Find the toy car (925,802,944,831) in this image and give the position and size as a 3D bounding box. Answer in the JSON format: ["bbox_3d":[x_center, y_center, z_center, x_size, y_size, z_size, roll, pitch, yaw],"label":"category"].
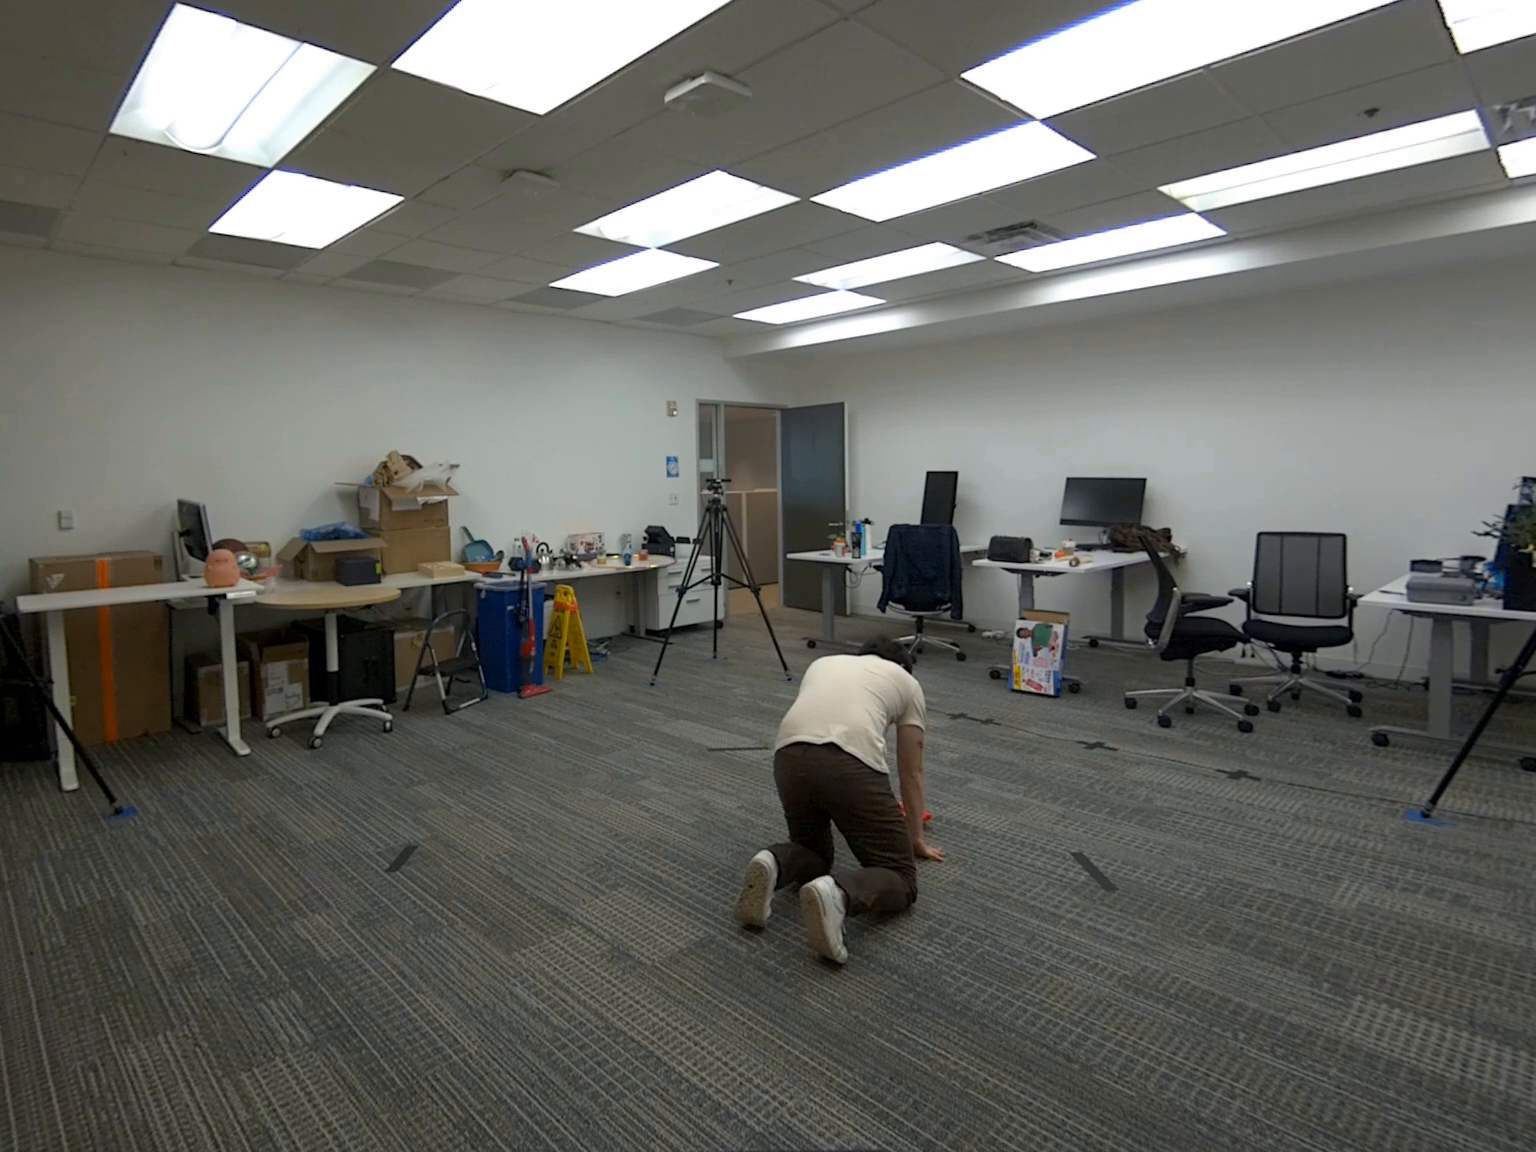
[{"bbox_3d":[0.561,0.962,3.469,0.127,0.083,0.259,-3,-5,-34],"label":"toy car"}]
